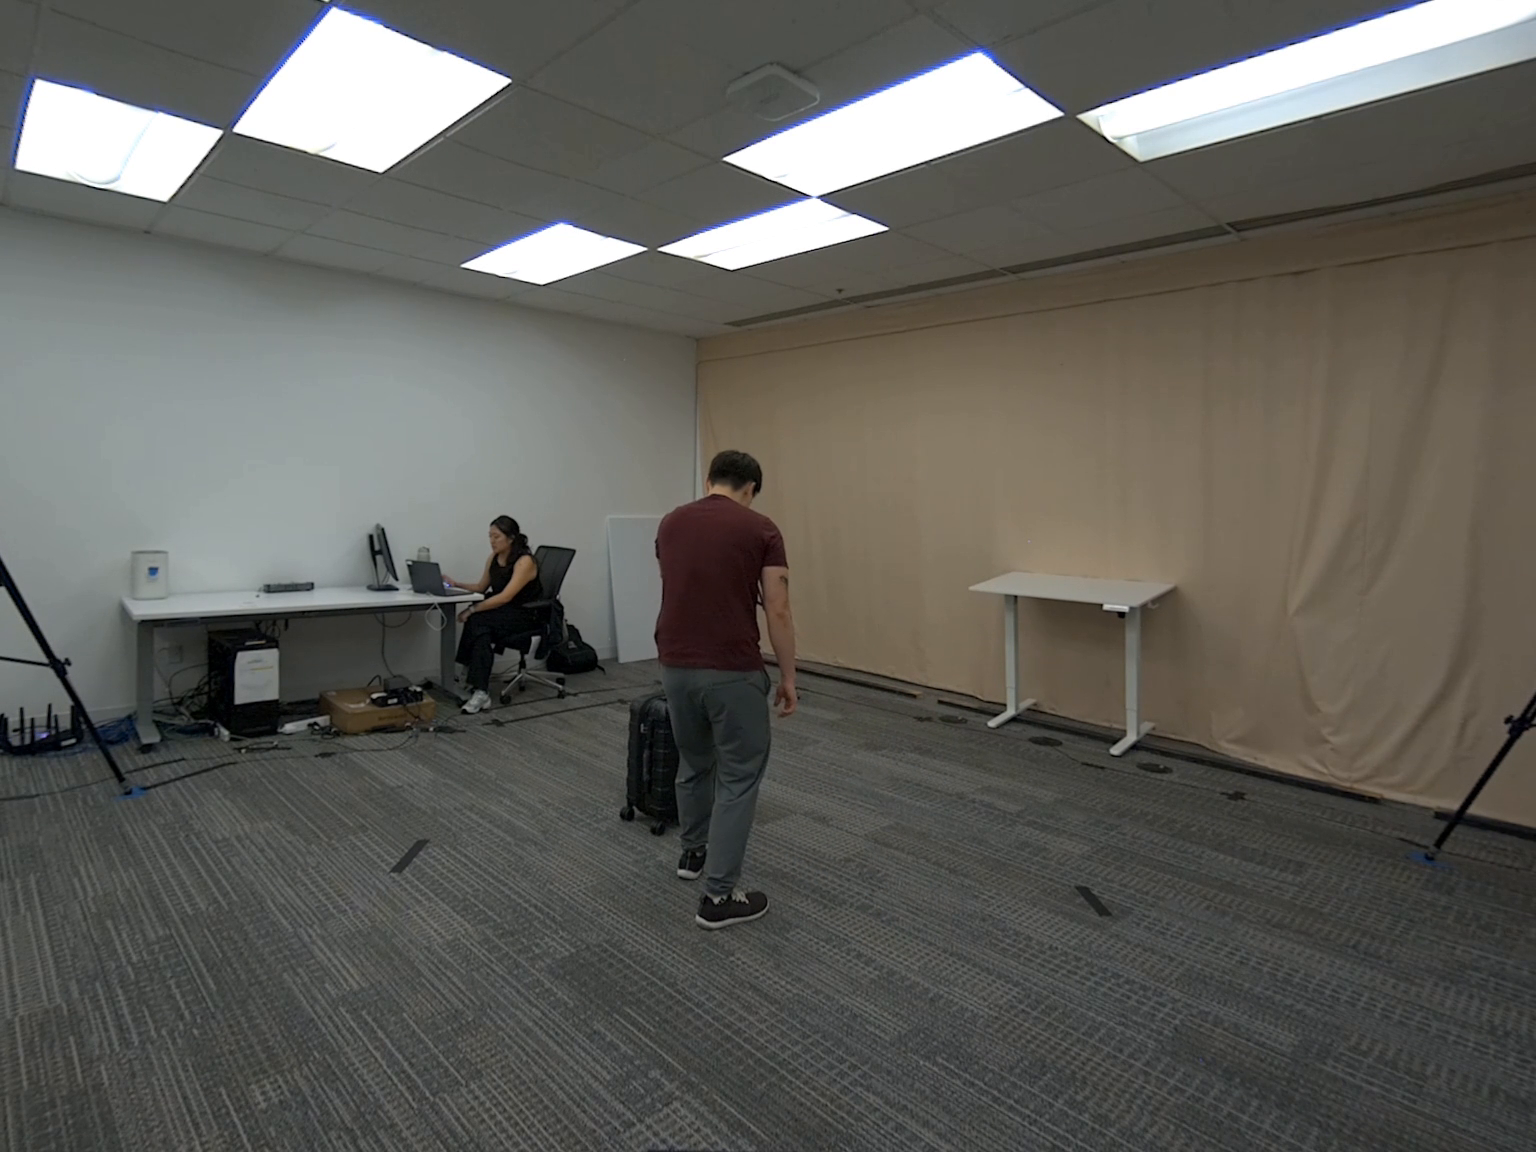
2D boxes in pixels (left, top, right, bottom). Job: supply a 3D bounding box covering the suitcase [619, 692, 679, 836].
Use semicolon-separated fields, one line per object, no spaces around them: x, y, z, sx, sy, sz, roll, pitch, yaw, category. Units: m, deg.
-0.420;0.575;3.645;0.263;0.978;0.375;2;1;42;suitcase
